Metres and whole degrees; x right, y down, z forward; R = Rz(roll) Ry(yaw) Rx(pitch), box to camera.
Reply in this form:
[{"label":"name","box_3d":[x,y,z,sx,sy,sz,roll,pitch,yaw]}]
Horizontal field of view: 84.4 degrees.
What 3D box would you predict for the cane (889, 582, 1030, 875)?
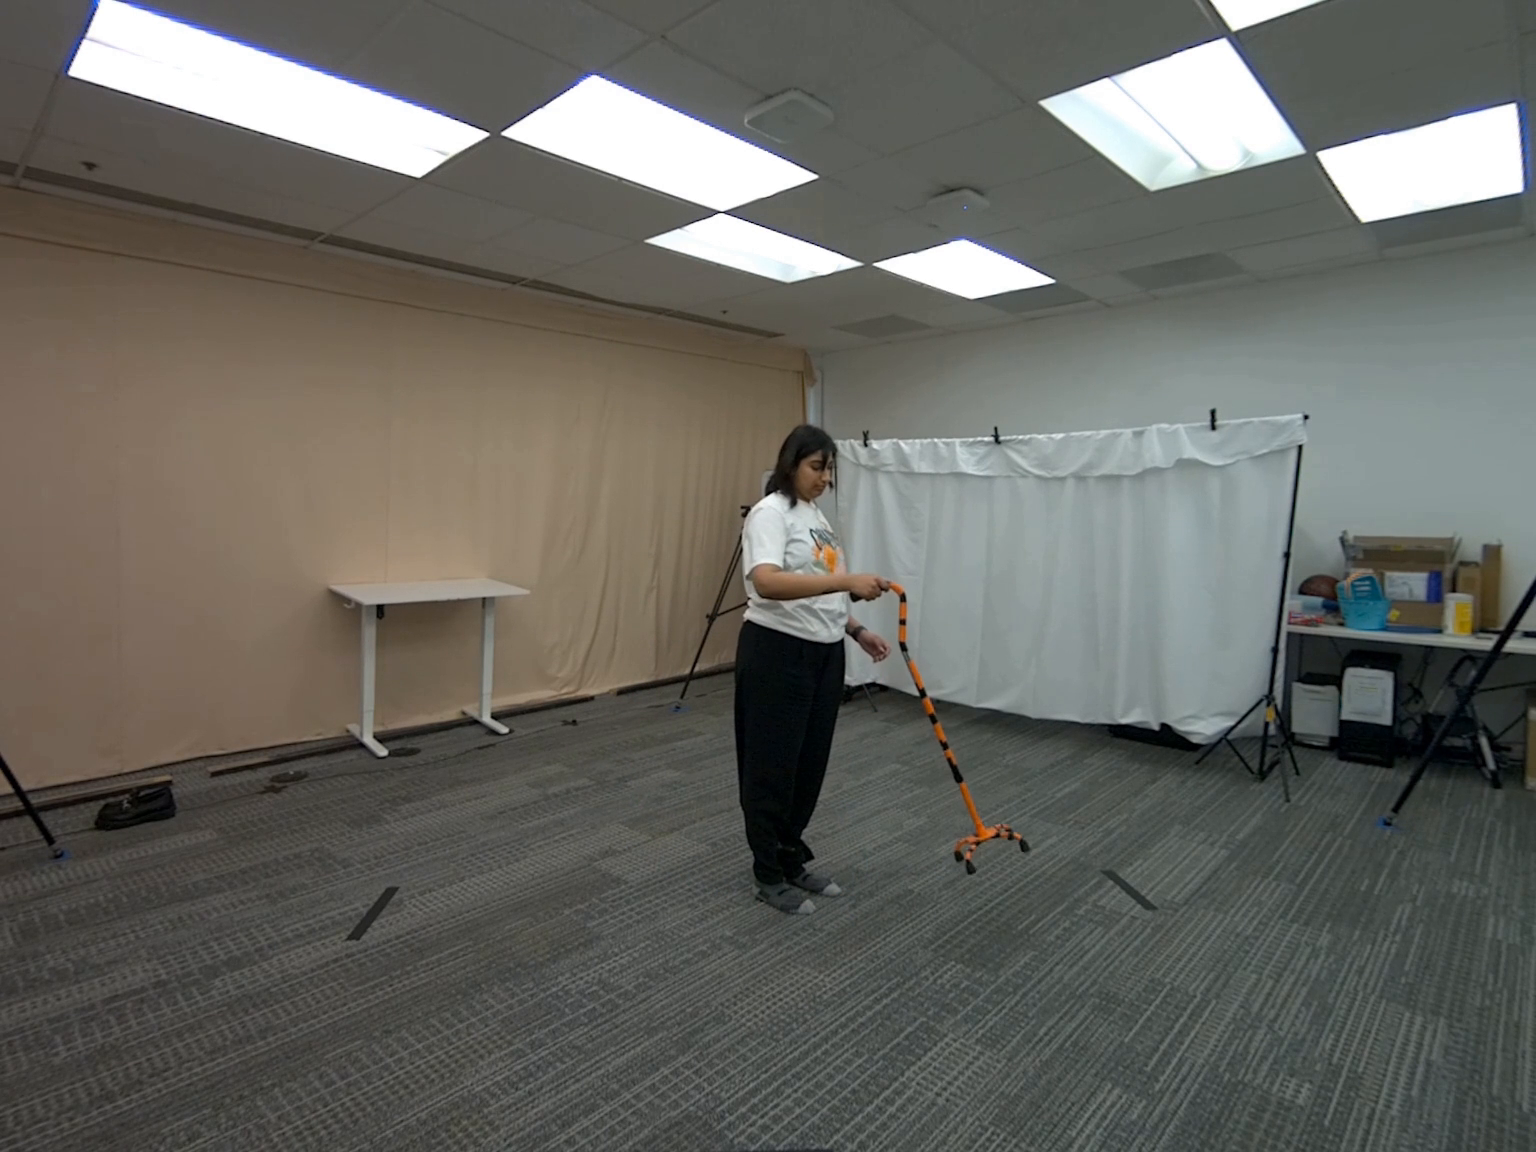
[{"label":"cane","box_3d":[0.527,0.457,2.614,0.206,0.909,0.151,-21,-2,-2]}]
